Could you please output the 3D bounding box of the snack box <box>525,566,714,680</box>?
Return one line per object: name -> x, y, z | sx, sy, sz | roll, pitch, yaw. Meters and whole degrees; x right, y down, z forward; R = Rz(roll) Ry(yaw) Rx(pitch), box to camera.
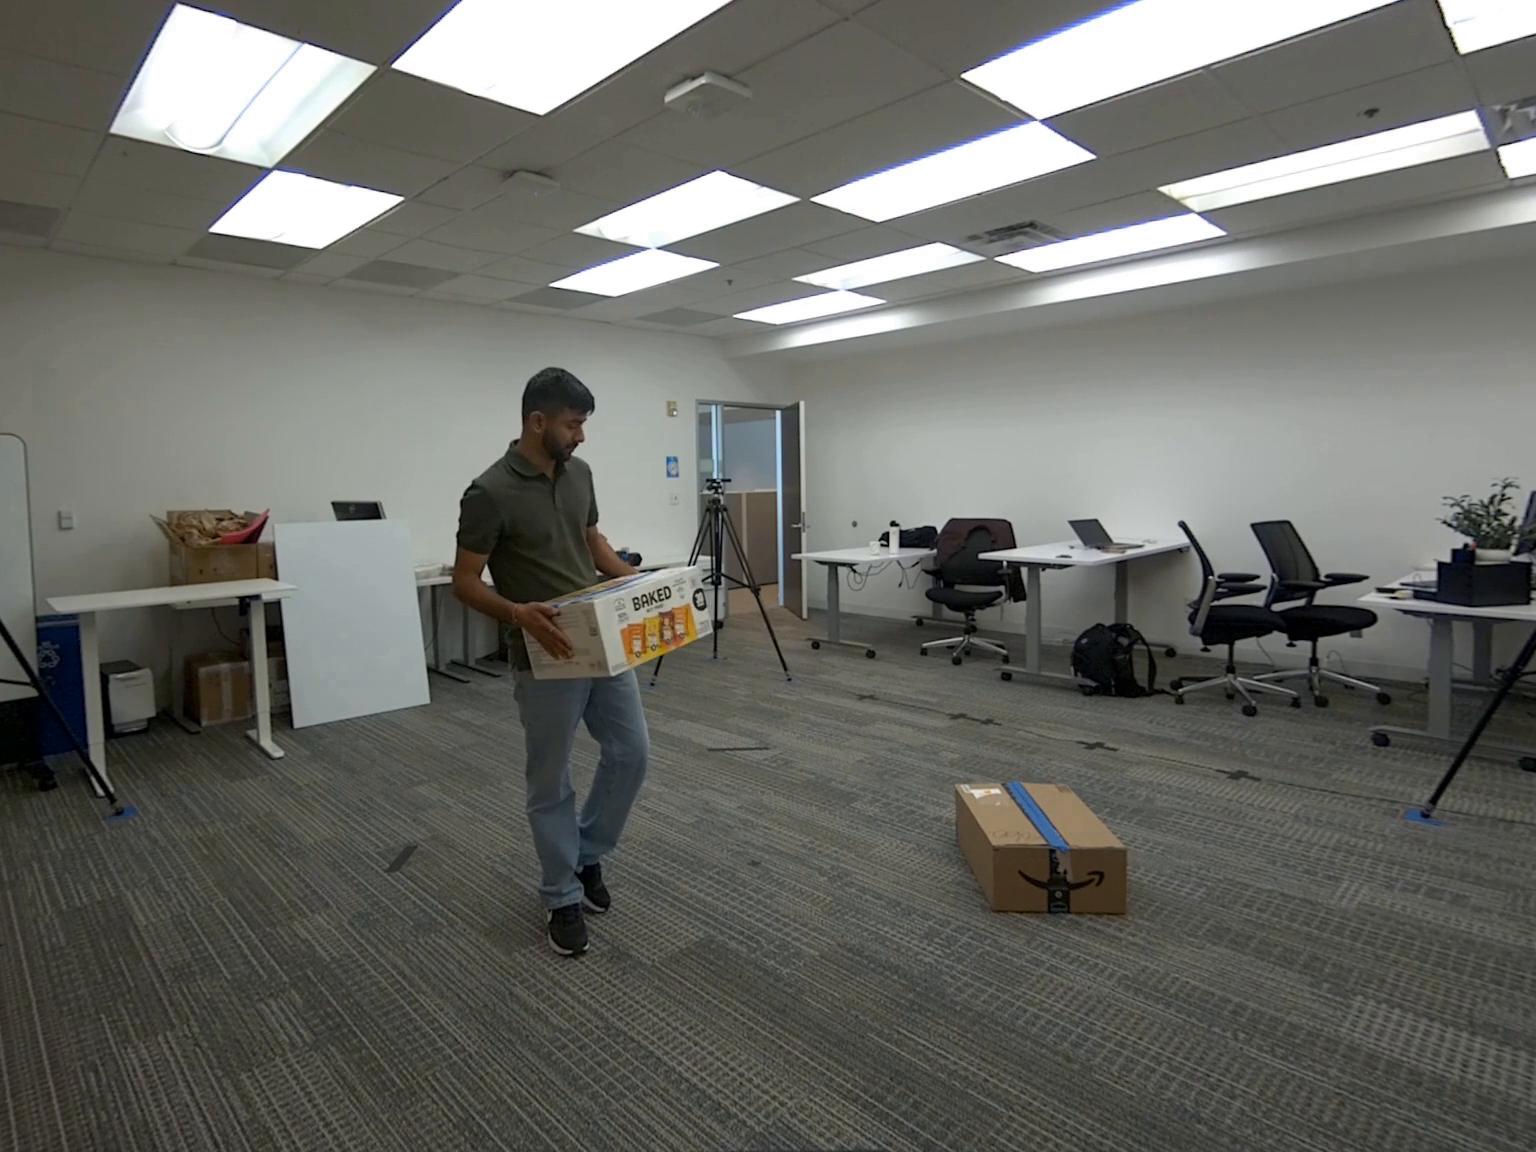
snack box -> -0.435, 0.133, 2.438 | 0.349, 0.204, 0.397 | -7, 9, 41
